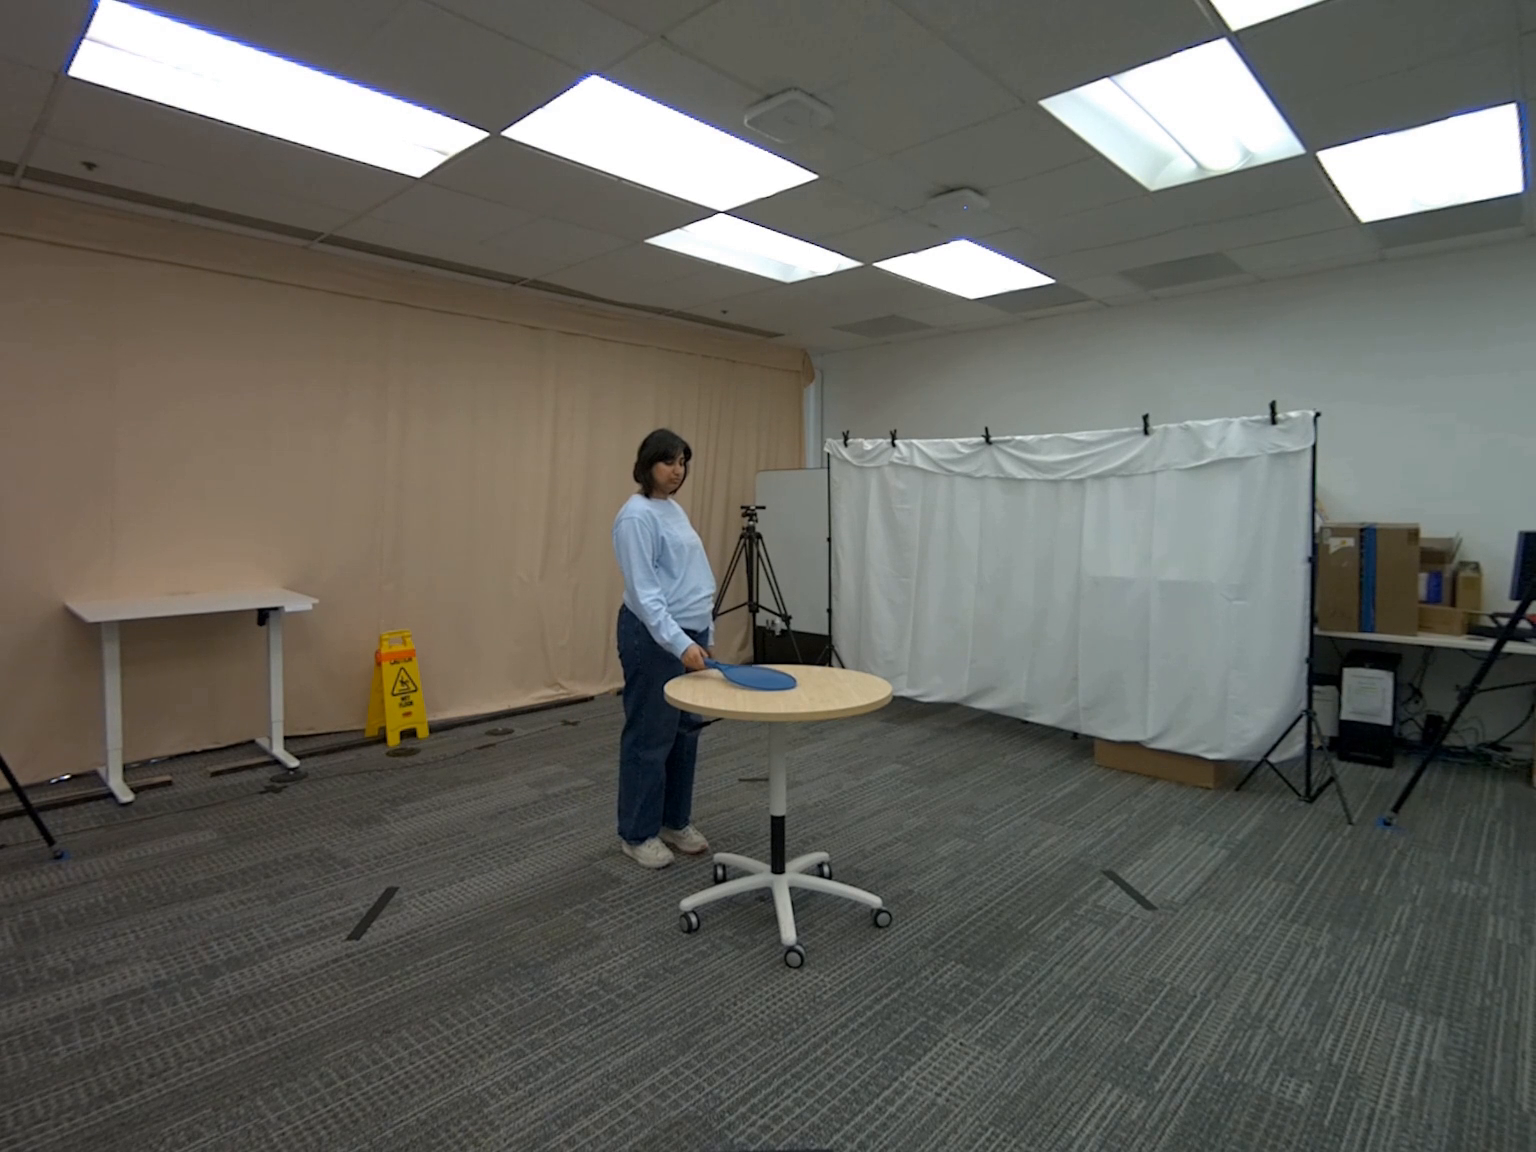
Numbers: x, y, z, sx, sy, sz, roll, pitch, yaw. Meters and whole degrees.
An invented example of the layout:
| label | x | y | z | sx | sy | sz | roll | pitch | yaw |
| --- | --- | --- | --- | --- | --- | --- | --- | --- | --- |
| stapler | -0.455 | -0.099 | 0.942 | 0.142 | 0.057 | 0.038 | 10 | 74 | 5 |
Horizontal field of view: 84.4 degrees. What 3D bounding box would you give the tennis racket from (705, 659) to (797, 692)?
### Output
| label | x | y | z | sx | sy | sz | roll | pitch | yaw |
| --- | --- | --- | --- | --- | --- | --- | --- | --- | --- |
| tennis racket | -0.093 | 0.333 | 2.913 | 0.448 | 0.031 | 0.208 | 12 | 14 | 35 |
